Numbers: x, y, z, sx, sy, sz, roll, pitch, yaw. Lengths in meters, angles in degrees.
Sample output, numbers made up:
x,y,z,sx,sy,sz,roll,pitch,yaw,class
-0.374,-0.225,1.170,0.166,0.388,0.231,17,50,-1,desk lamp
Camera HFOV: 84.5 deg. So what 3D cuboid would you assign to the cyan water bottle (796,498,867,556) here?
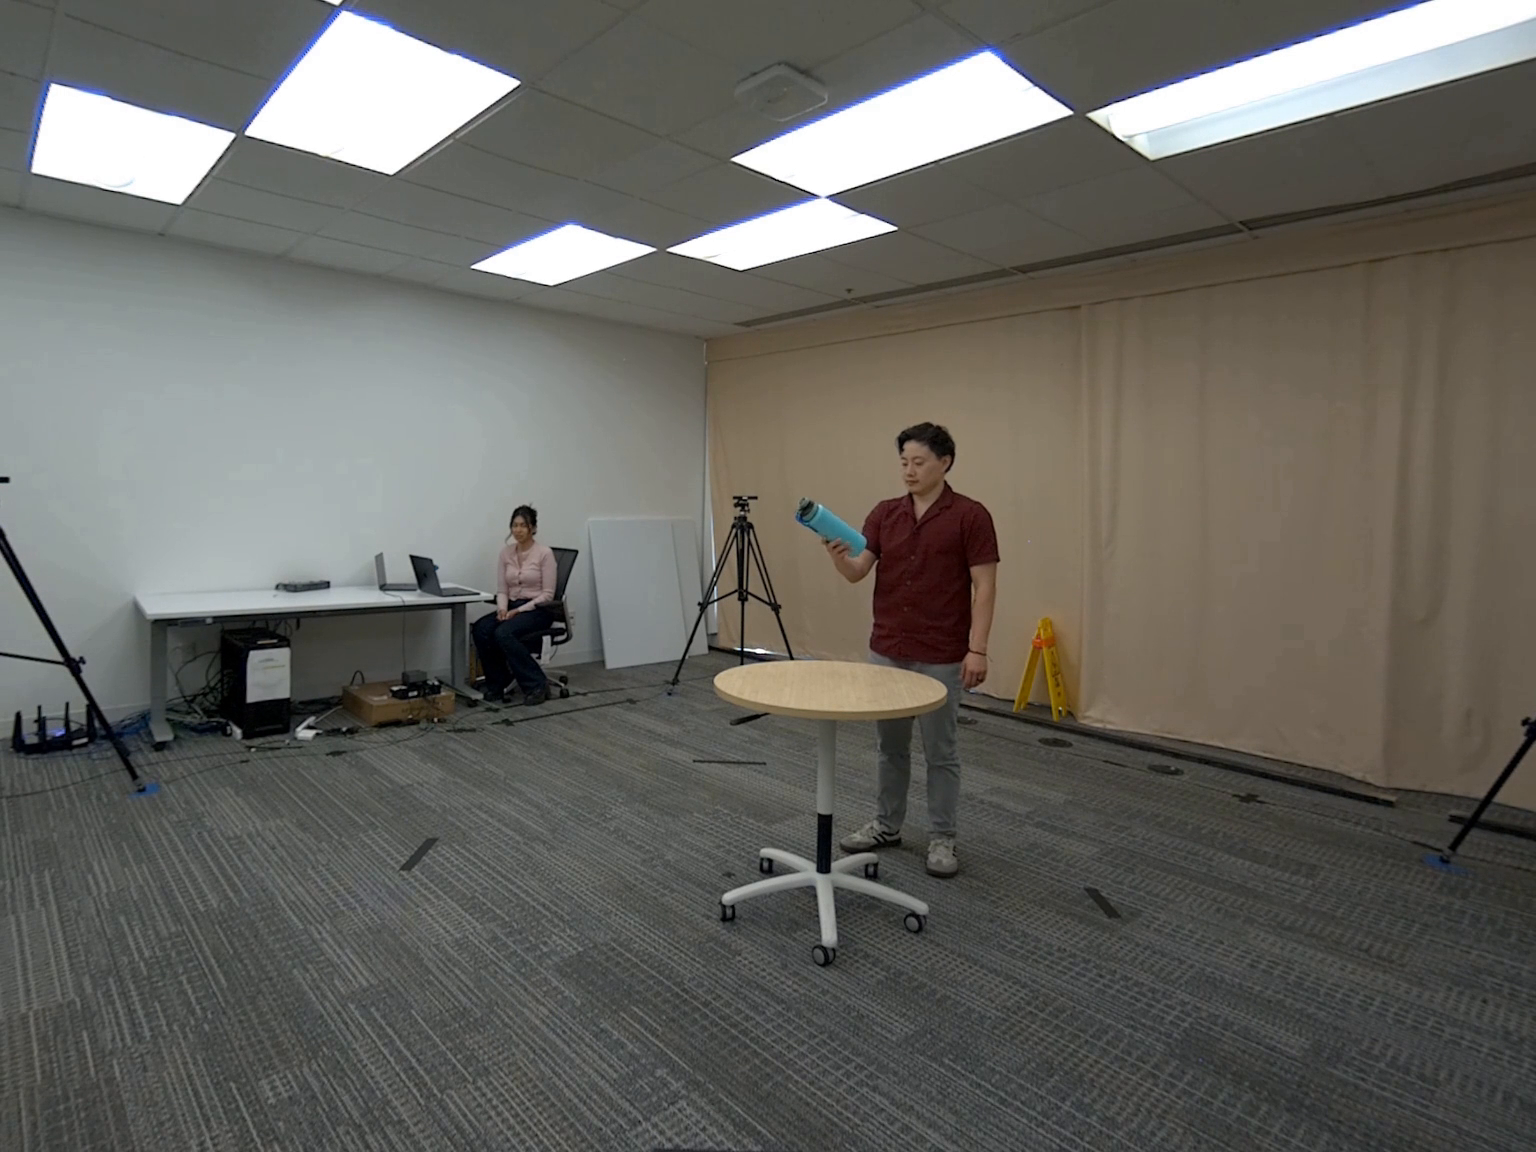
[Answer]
x,y,z,sx,sy,sz,roll,pitch,yaw,class
0.213,-0.162,2.957,0.277,0.092,0.094,34,-9,-21,cyan water bottle
